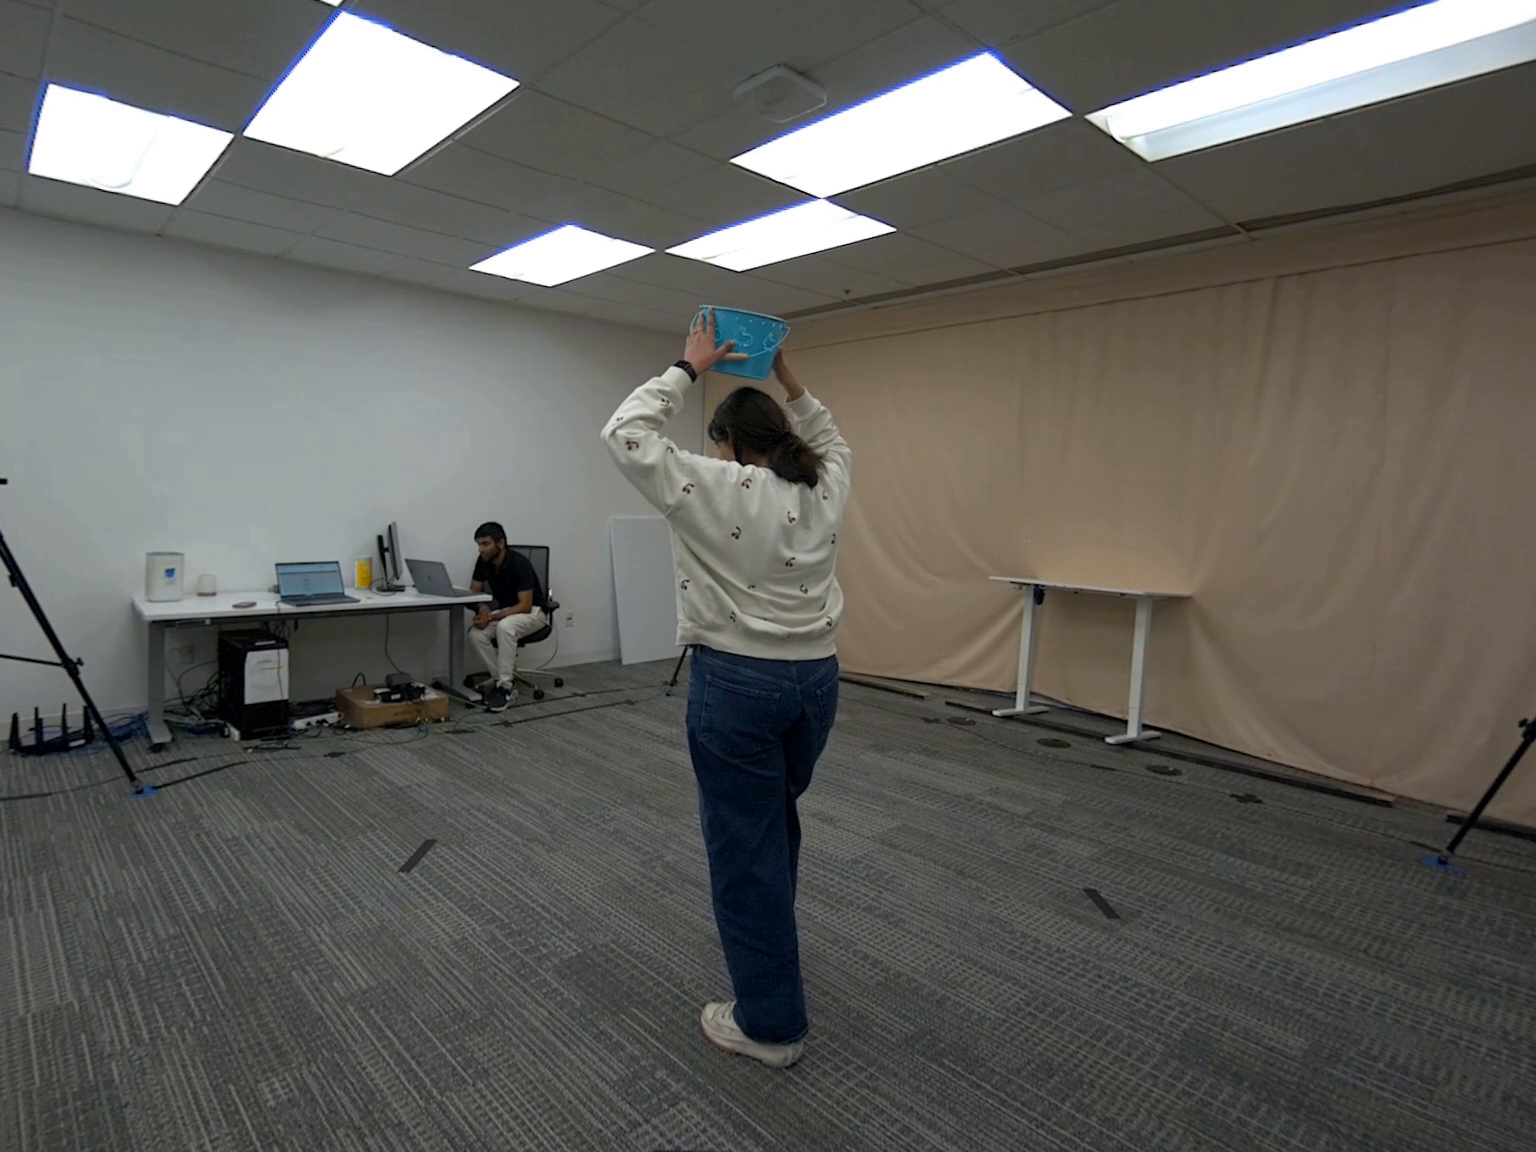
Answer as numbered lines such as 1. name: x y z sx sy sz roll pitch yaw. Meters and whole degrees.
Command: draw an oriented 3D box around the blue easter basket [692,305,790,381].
1. blue easter basket: -0.086 -0.597 2.146 0.243 0.155 0.246 11 12 -4
